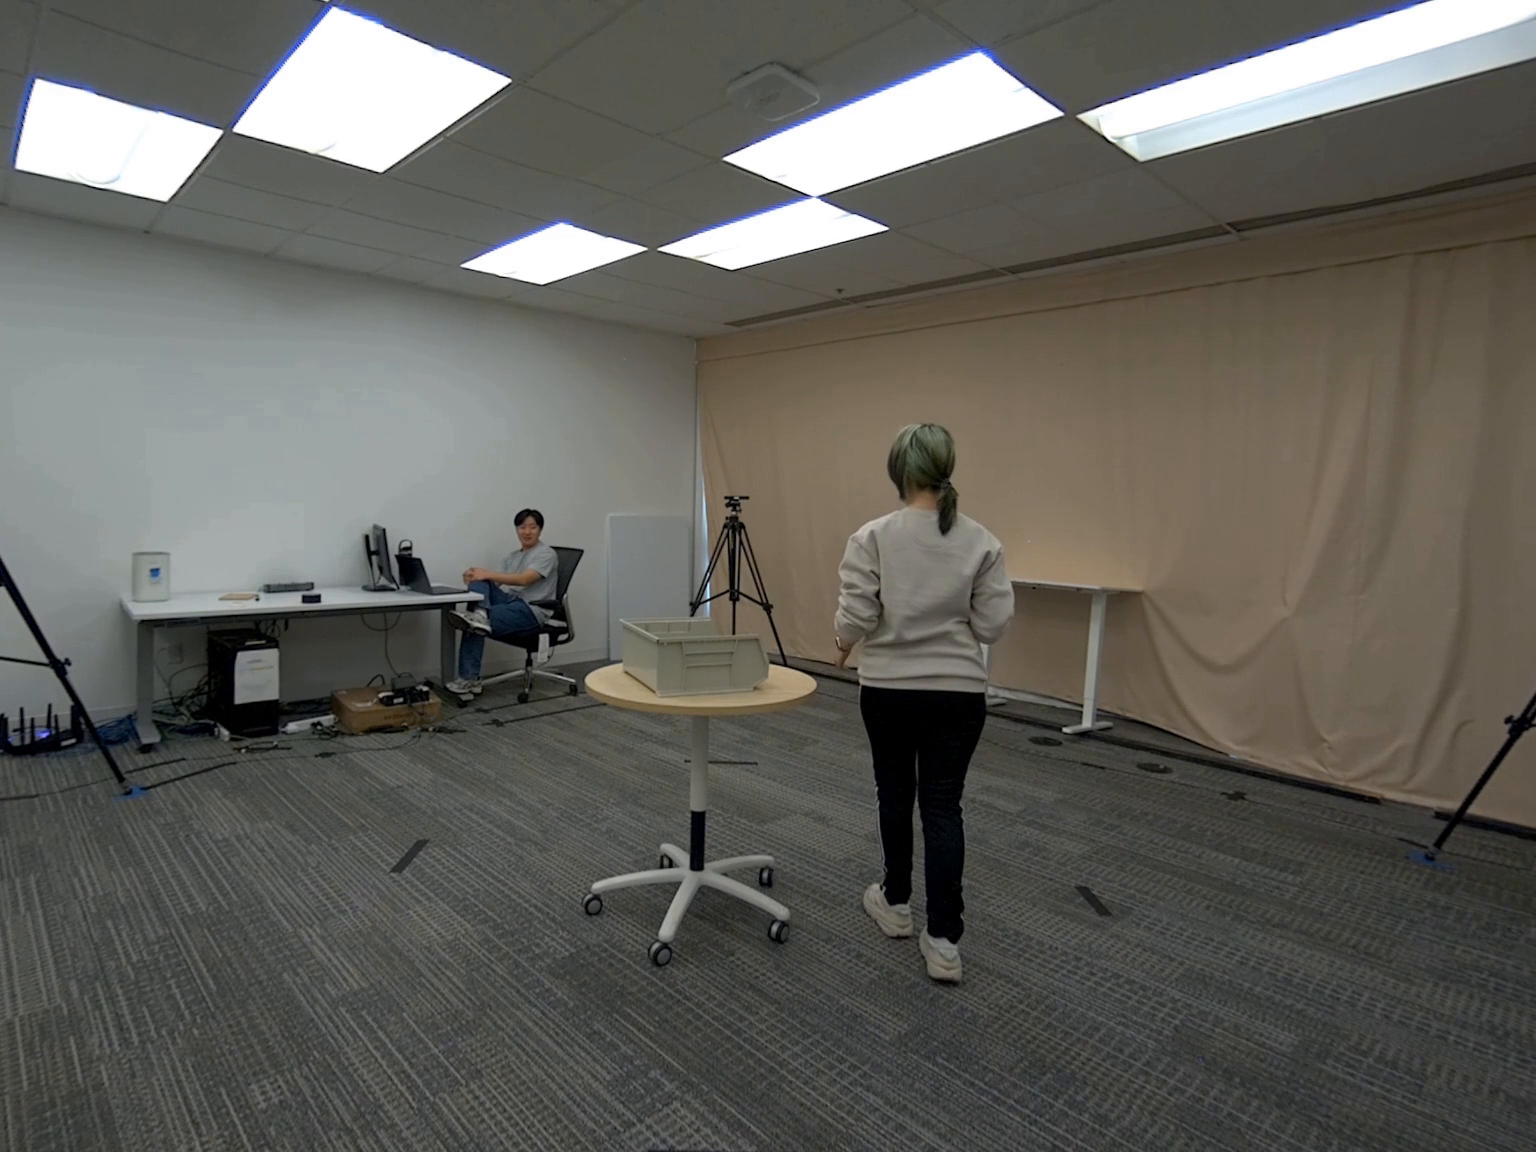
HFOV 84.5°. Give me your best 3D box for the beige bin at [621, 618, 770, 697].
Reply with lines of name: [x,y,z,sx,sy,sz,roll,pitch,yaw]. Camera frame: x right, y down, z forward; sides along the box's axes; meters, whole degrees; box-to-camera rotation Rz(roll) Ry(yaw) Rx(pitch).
beige bin: [-0.256,0.257,2.776,0.371,0.188,0.431,-2,6,-24]
